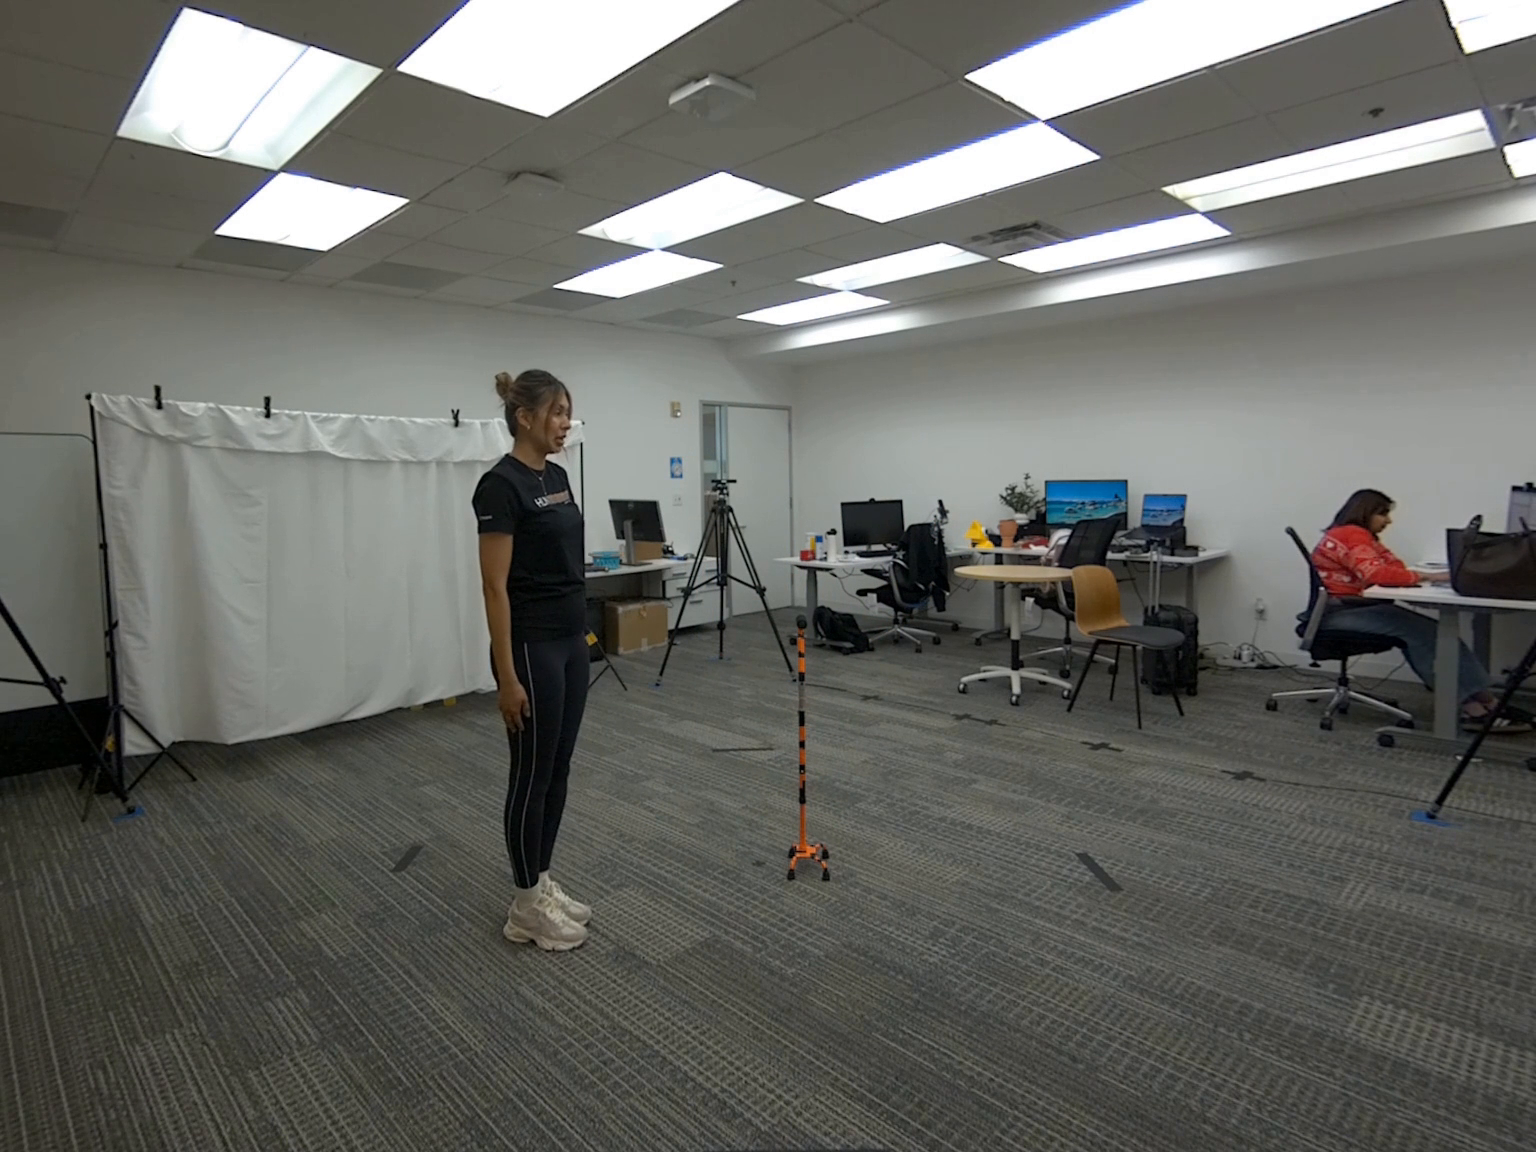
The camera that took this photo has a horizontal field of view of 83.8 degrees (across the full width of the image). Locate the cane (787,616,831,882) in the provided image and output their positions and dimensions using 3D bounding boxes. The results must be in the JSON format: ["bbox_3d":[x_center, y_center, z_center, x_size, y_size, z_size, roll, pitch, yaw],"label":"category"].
[{"bbox_3d":[0.140,0.599,3.041,0.152,0.905,0.206,-1,3,3],"label":"cane"}]
